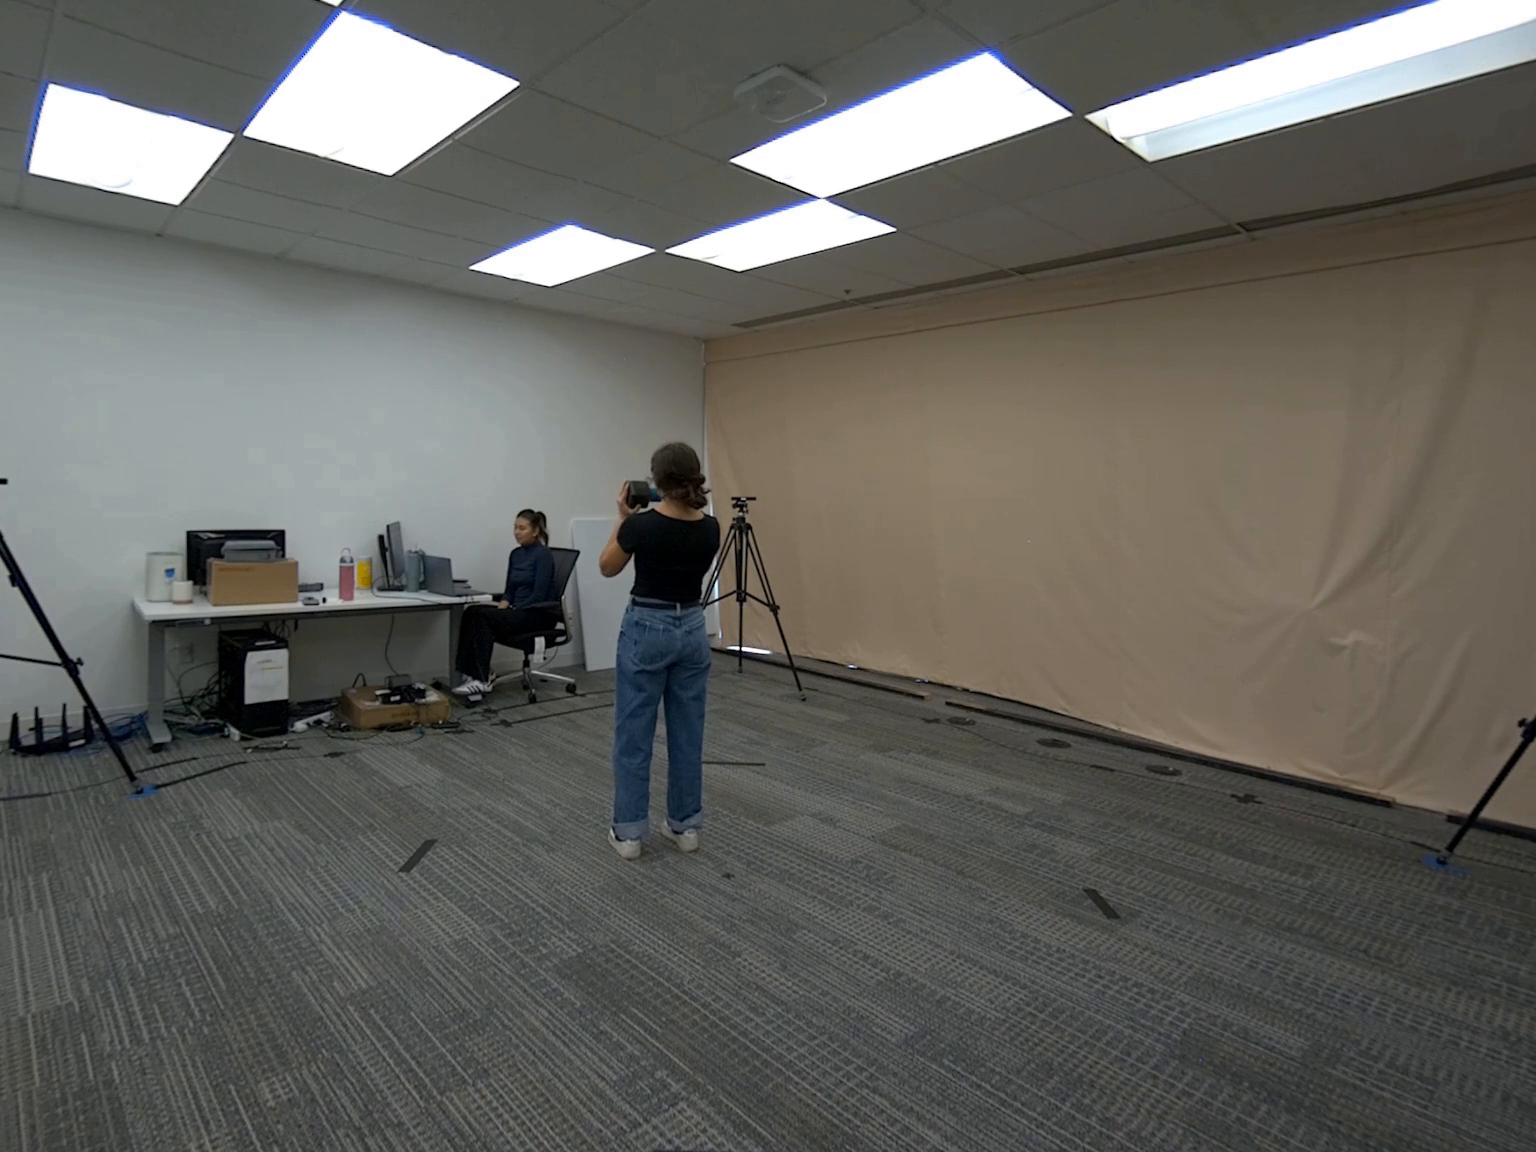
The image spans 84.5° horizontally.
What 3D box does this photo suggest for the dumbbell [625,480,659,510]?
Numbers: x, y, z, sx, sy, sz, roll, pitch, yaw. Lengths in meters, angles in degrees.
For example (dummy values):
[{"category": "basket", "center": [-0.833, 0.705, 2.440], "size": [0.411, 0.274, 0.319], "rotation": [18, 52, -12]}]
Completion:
[{"category": "dumbbell", "center": [-0.429, -0.331, 3.344], "size": [0.288, 0.125, 0.109], "rotation": [-2, -23, -27]}]
